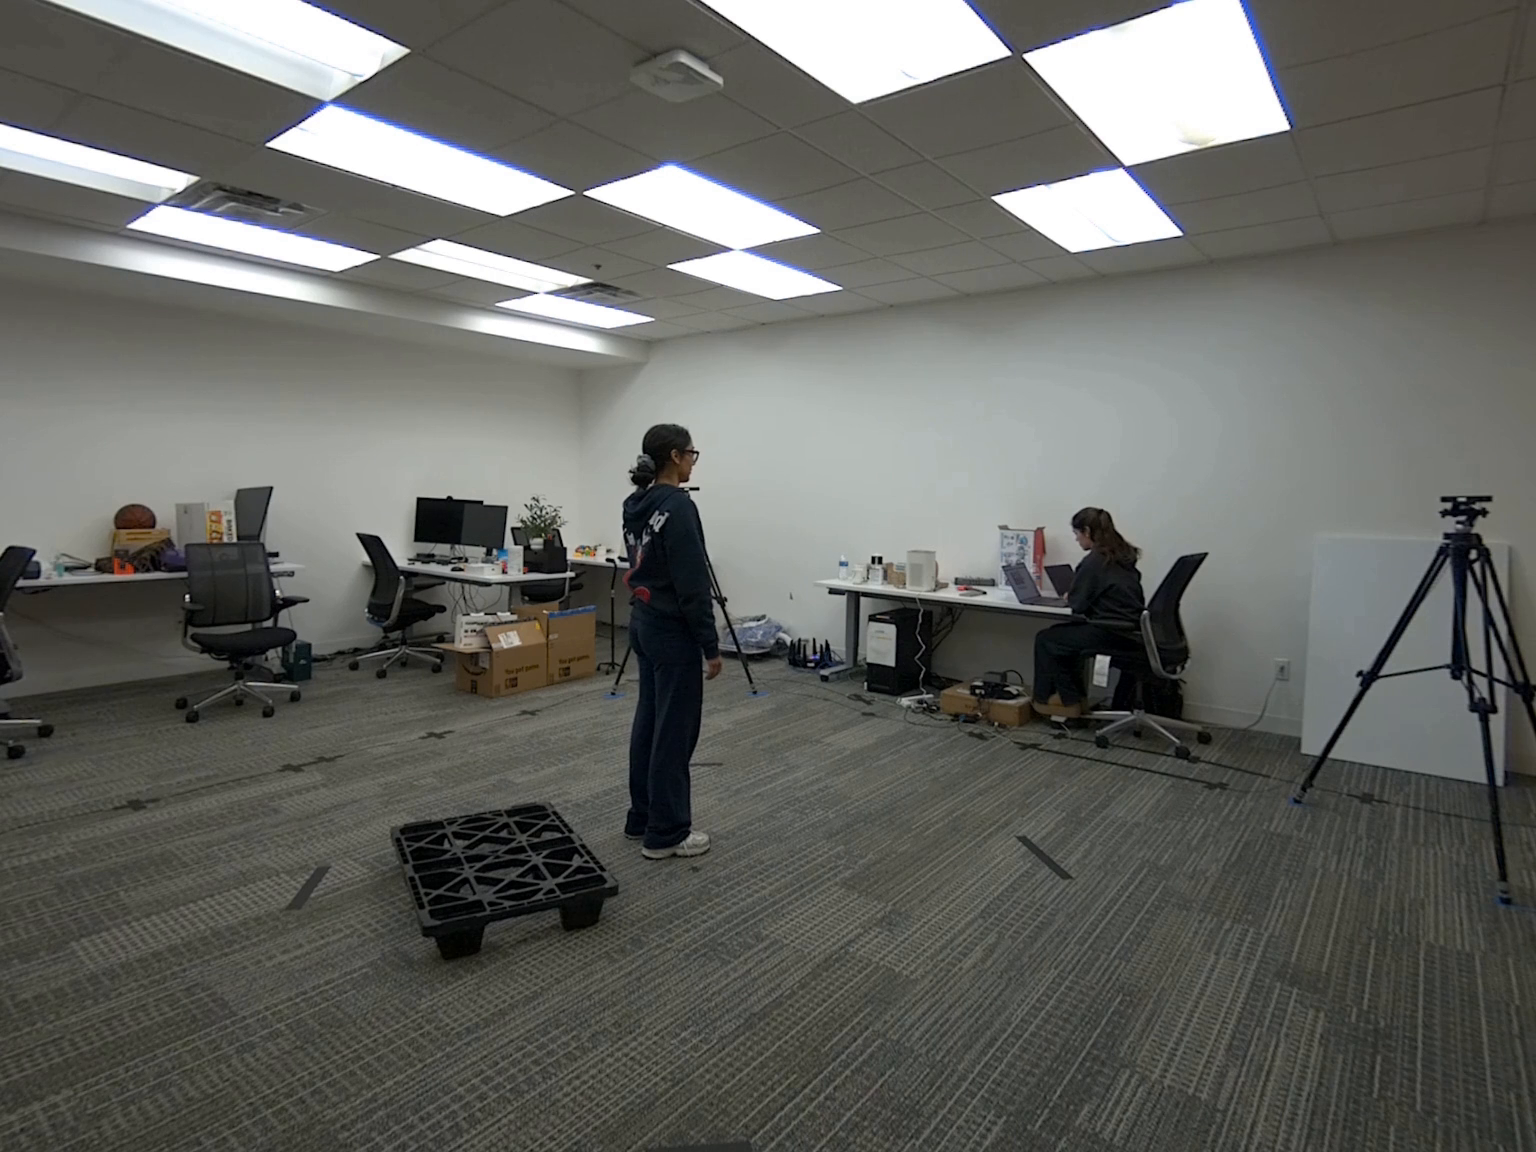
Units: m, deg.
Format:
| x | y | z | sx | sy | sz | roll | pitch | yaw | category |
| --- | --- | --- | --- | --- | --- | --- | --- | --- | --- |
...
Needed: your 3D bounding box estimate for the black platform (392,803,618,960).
| x | y | z | sx | sy | sz | roll | pitch | yaw | category |
| --- | --- | --- | --- | --- | --- | --- | --- | --- | --- |
| -0.938 | 1.010 | 2.910 | 0.589 | 0.143 | 0.830 | -2 | 6 | -30 | black platform |
